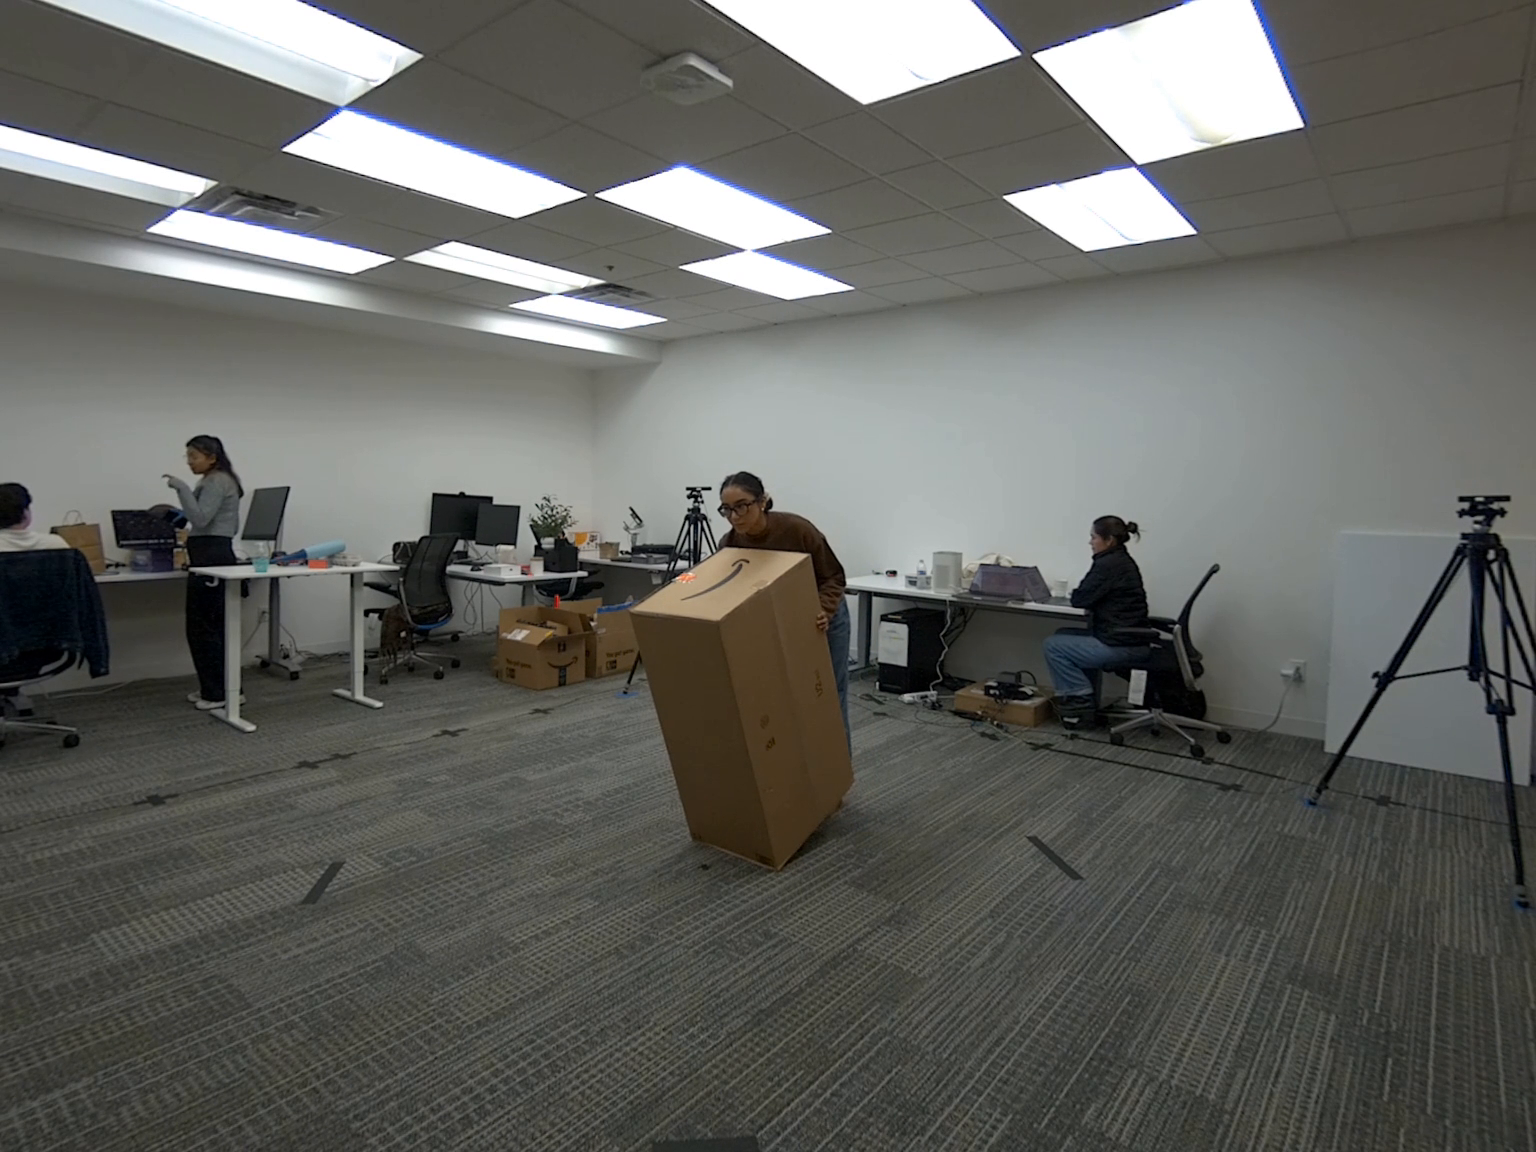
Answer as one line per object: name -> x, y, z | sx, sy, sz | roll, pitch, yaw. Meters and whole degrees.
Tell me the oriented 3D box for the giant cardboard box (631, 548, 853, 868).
giant cardboard box -> -0.084, 0.479, 3.261 | 0.440, 1.004, 0.571 | 3, 25, 38
